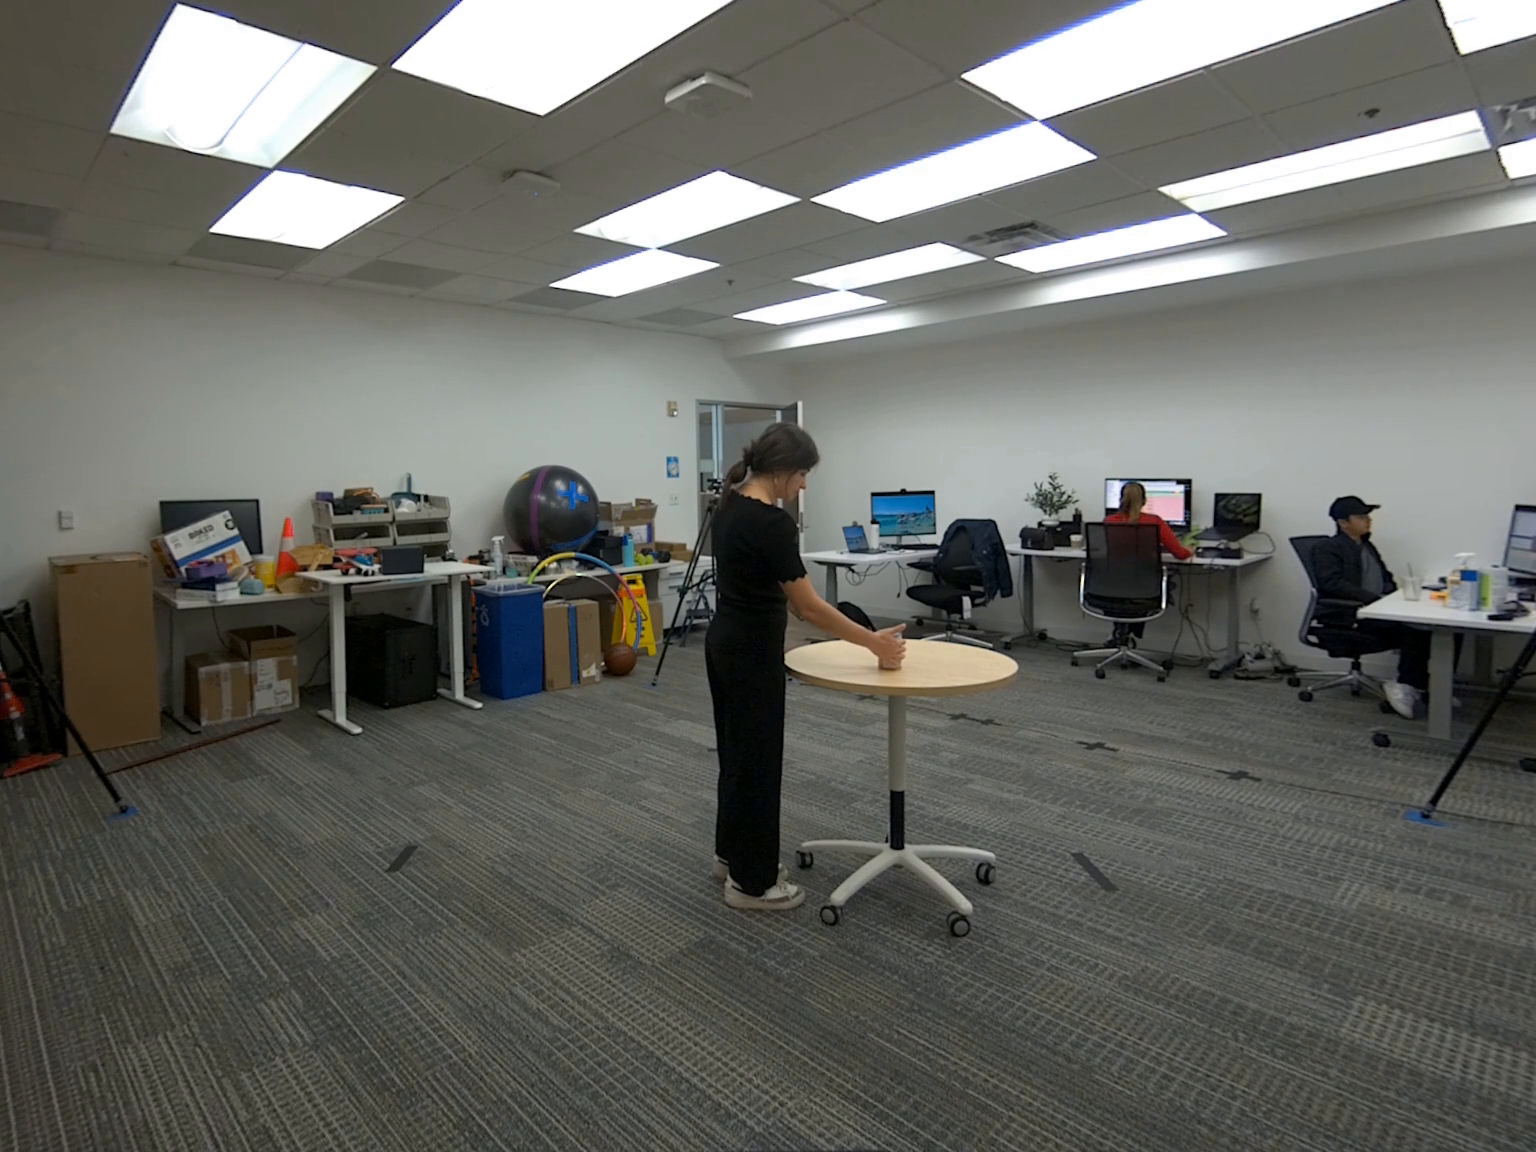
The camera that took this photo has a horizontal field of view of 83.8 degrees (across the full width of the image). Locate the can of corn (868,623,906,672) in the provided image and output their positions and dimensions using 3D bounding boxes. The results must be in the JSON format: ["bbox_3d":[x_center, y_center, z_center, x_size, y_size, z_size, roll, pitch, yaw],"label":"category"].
[{"bbox_3d":[0.390,0.242,2.729,0.074,0.110,0.075,-1,9,-2],"label":"can of corn"}]
